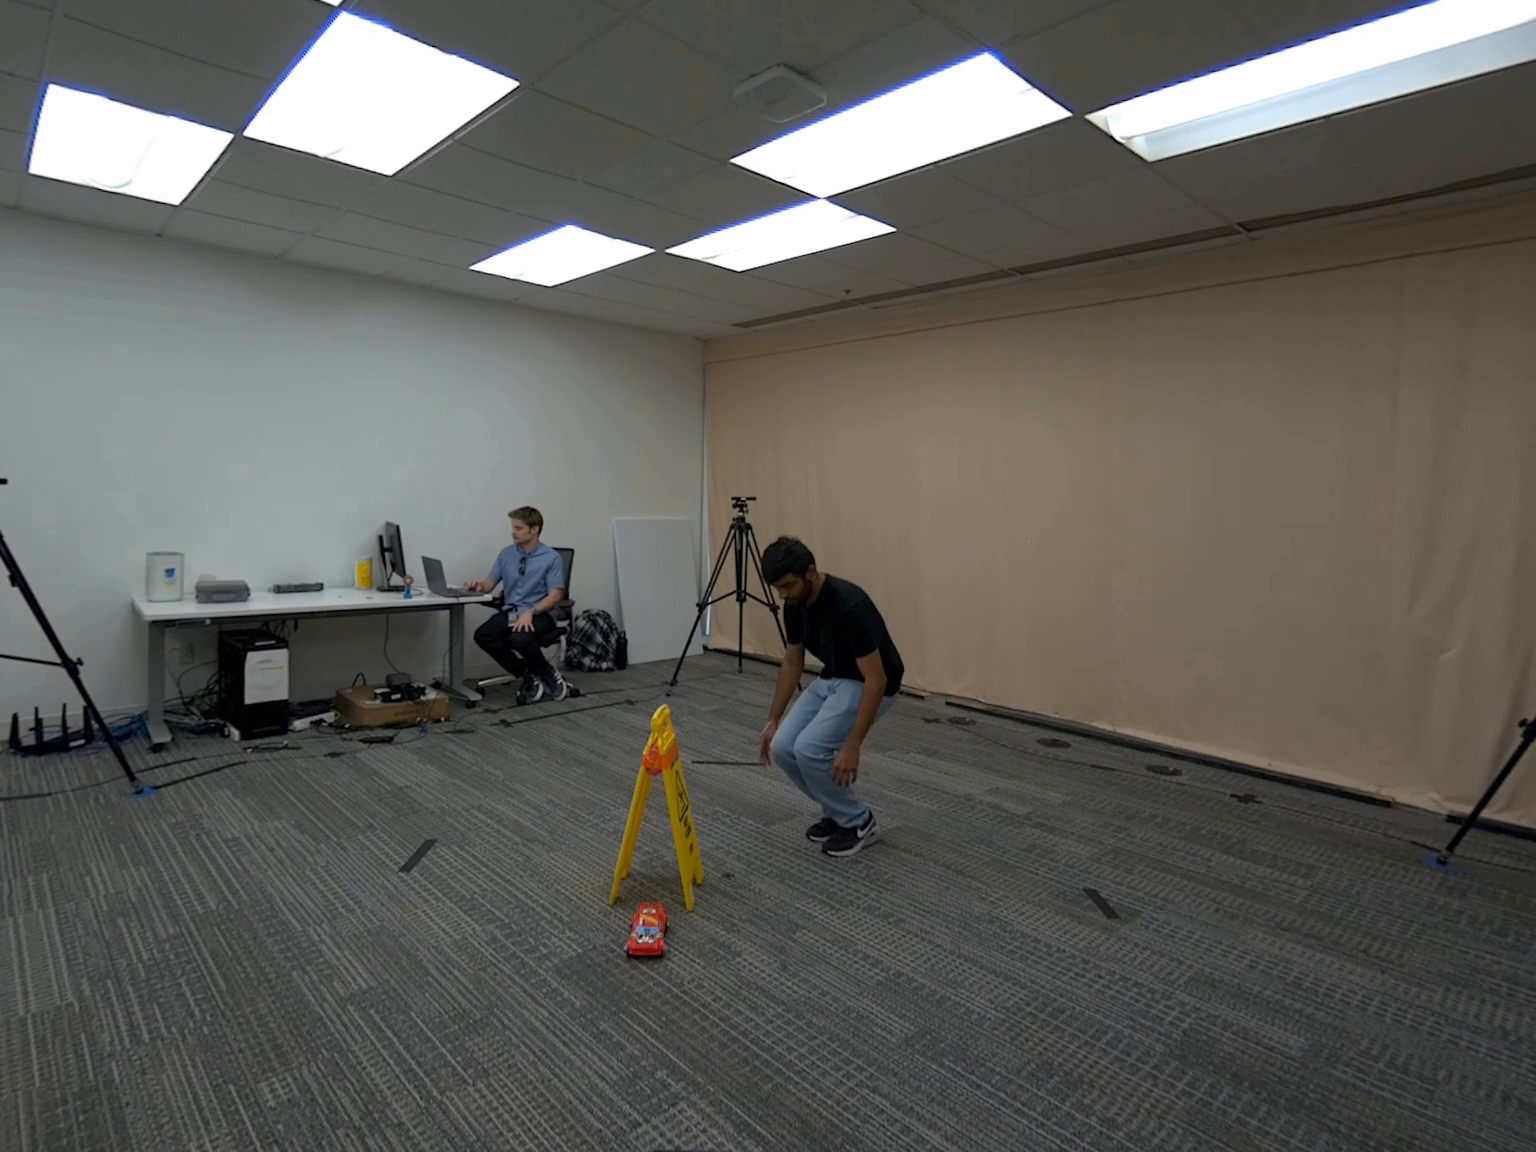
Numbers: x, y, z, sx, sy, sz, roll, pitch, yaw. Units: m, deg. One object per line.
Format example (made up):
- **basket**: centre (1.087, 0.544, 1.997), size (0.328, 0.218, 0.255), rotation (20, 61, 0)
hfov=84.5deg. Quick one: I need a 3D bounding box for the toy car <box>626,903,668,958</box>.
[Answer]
- **toy car**: centre (-0.383, 1.115, 2.631), size (0.130, 0.082, 0.257), rotation (1, 16, -2)
